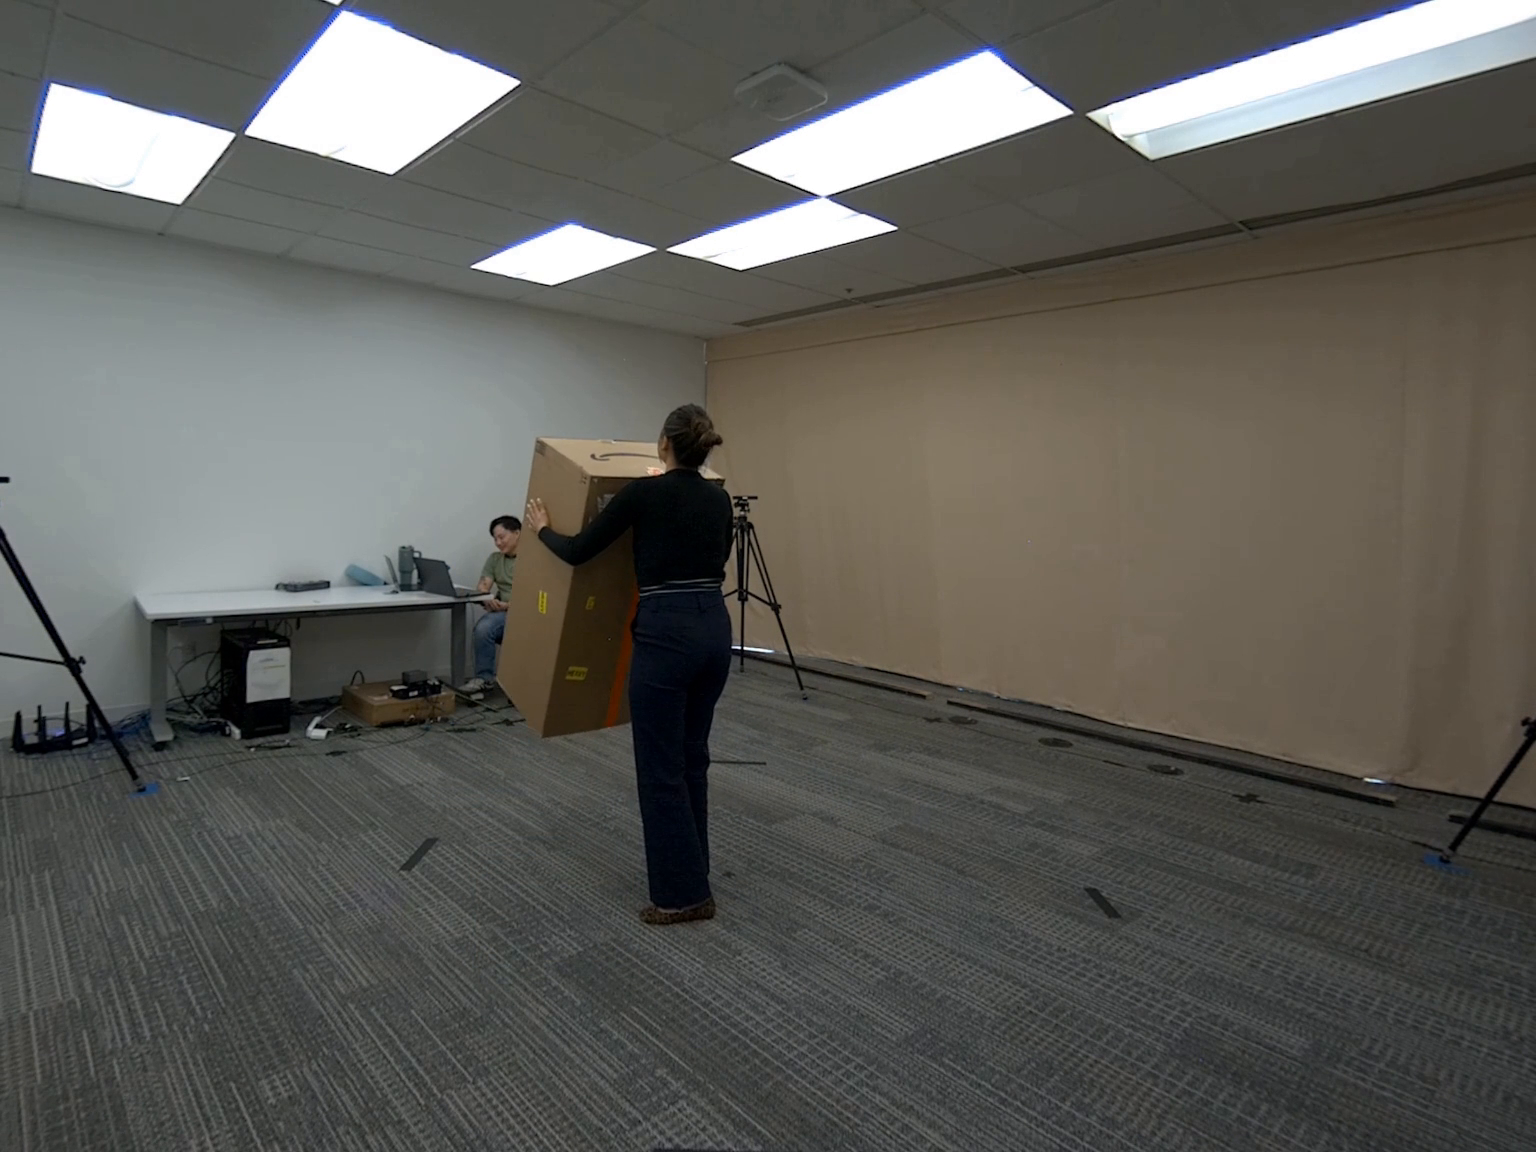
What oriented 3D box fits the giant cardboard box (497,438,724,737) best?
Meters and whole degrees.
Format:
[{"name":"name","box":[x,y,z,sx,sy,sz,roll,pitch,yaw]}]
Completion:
[{"name":"giant cardboard box","box":[-0.626,0.034,3.239,0.564,1.016,0.440,-3,25,-41]}]
